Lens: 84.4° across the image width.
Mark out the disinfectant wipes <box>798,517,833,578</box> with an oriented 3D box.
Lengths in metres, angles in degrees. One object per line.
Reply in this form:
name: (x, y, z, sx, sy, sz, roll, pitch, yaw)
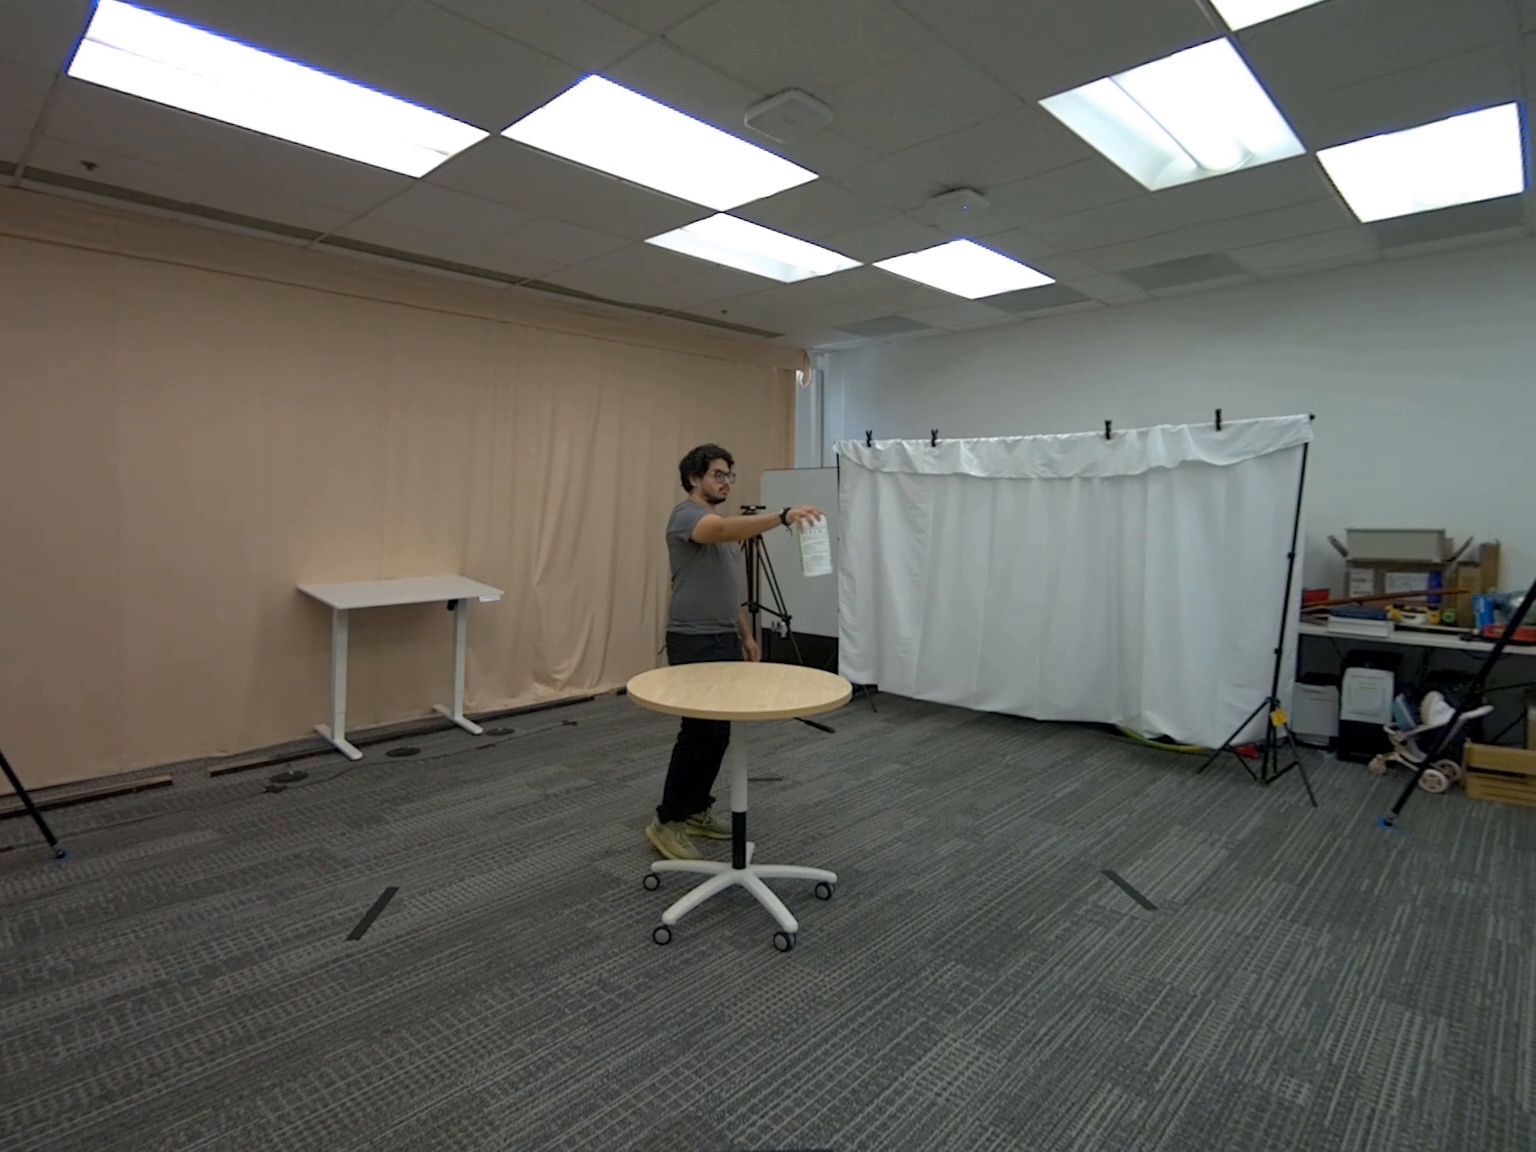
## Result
disinfectant wipes: (0.172, -0.104, 3.027, 0.118, 0.217, 0.118, -8, 0, -2)
